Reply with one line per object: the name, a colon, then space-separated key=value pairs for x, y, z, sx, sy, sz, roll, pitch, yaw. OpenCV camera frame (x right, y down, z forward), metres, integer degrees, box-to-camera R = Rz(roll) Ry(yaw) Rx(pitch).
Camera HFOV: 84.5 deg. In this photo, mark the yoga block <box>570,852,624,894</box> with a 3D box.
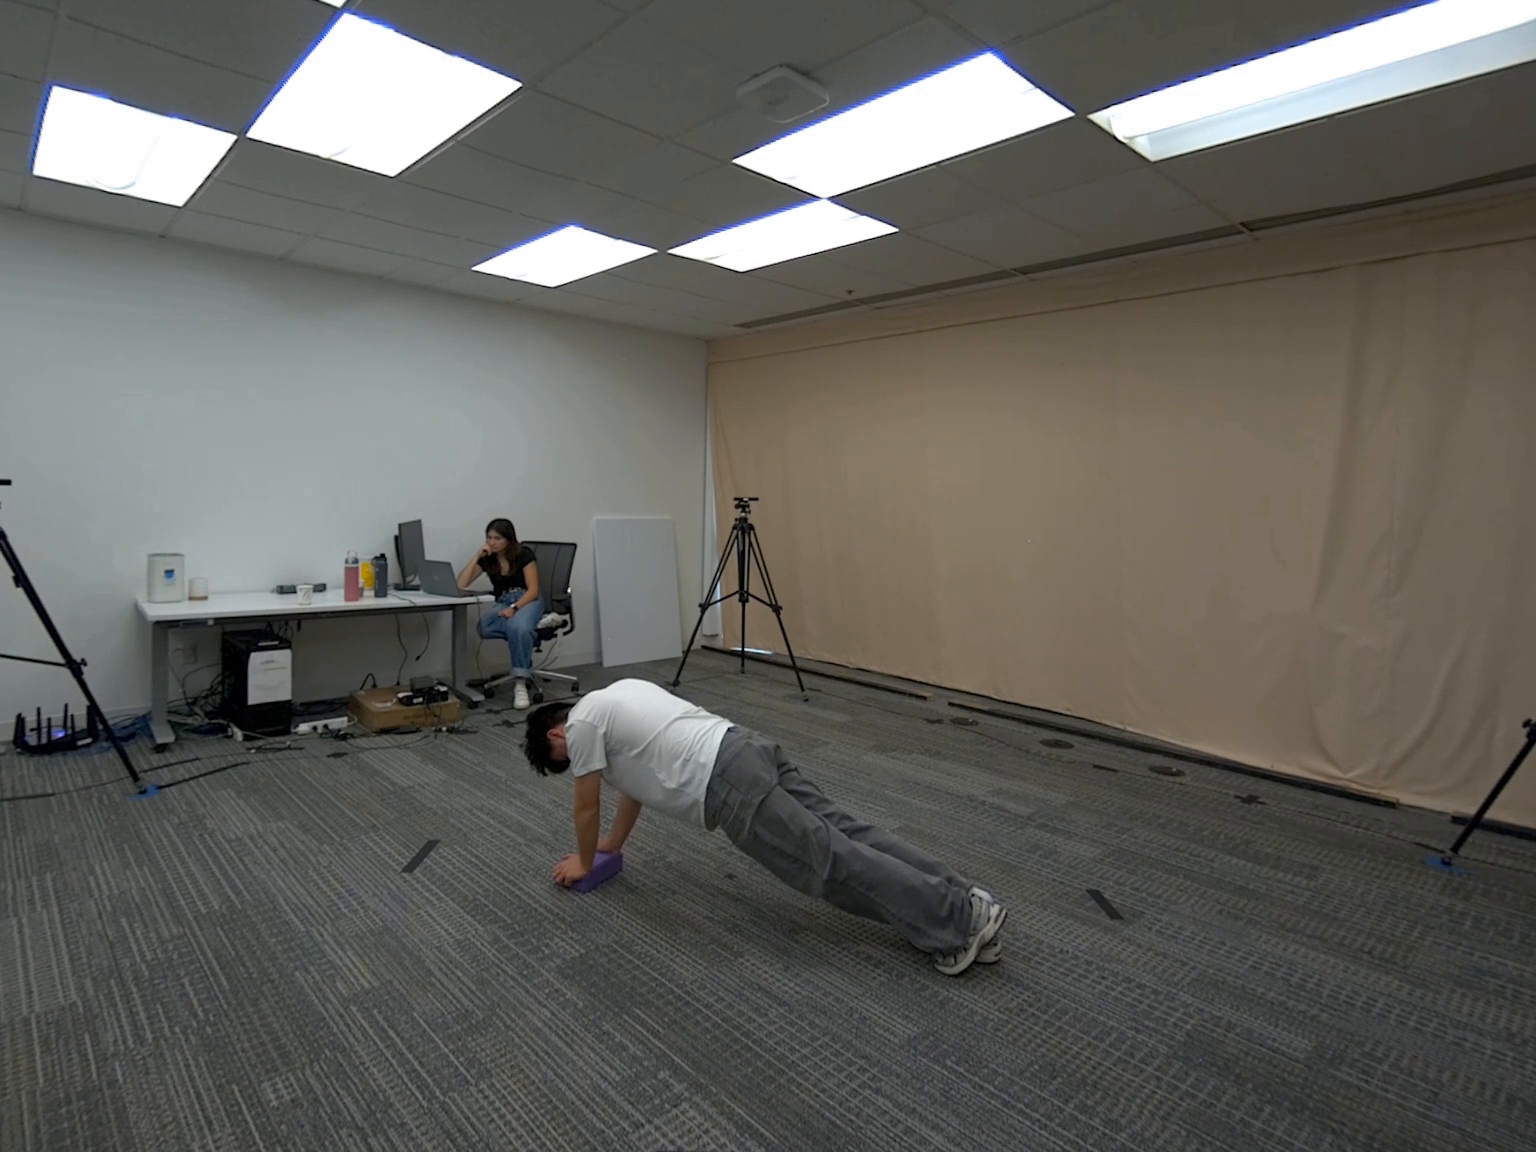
yoga block: x=-0.662 y=1.070 z=3.071 sx=0.152 sy=0.076 sz=0.225 roll=3 pitch=7 yaw=28
